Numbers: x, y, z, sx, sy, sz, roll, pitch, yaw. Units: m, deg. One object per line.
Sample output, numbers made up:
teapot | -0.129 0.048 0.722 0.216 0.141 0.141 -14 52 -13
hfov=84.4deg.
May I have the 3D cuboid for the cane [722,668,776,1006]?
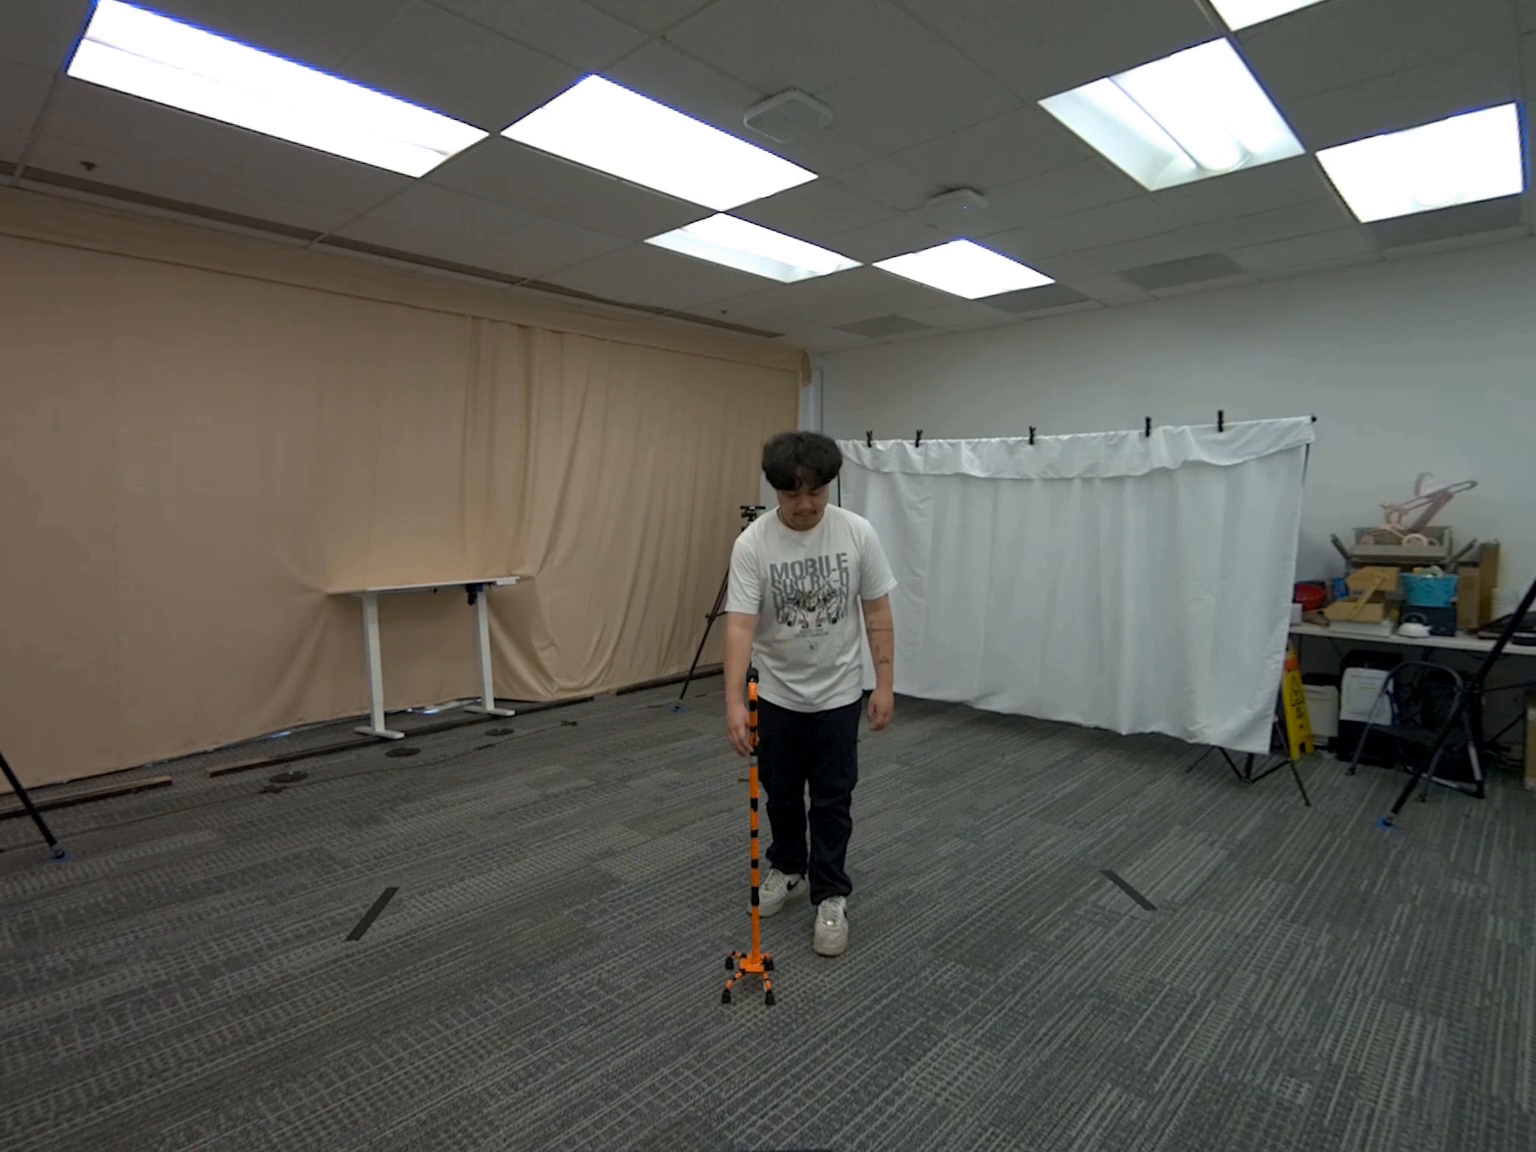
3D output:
cane | -0.044 0.738 2.431 0.152 0.907 0.206 1 2 1
